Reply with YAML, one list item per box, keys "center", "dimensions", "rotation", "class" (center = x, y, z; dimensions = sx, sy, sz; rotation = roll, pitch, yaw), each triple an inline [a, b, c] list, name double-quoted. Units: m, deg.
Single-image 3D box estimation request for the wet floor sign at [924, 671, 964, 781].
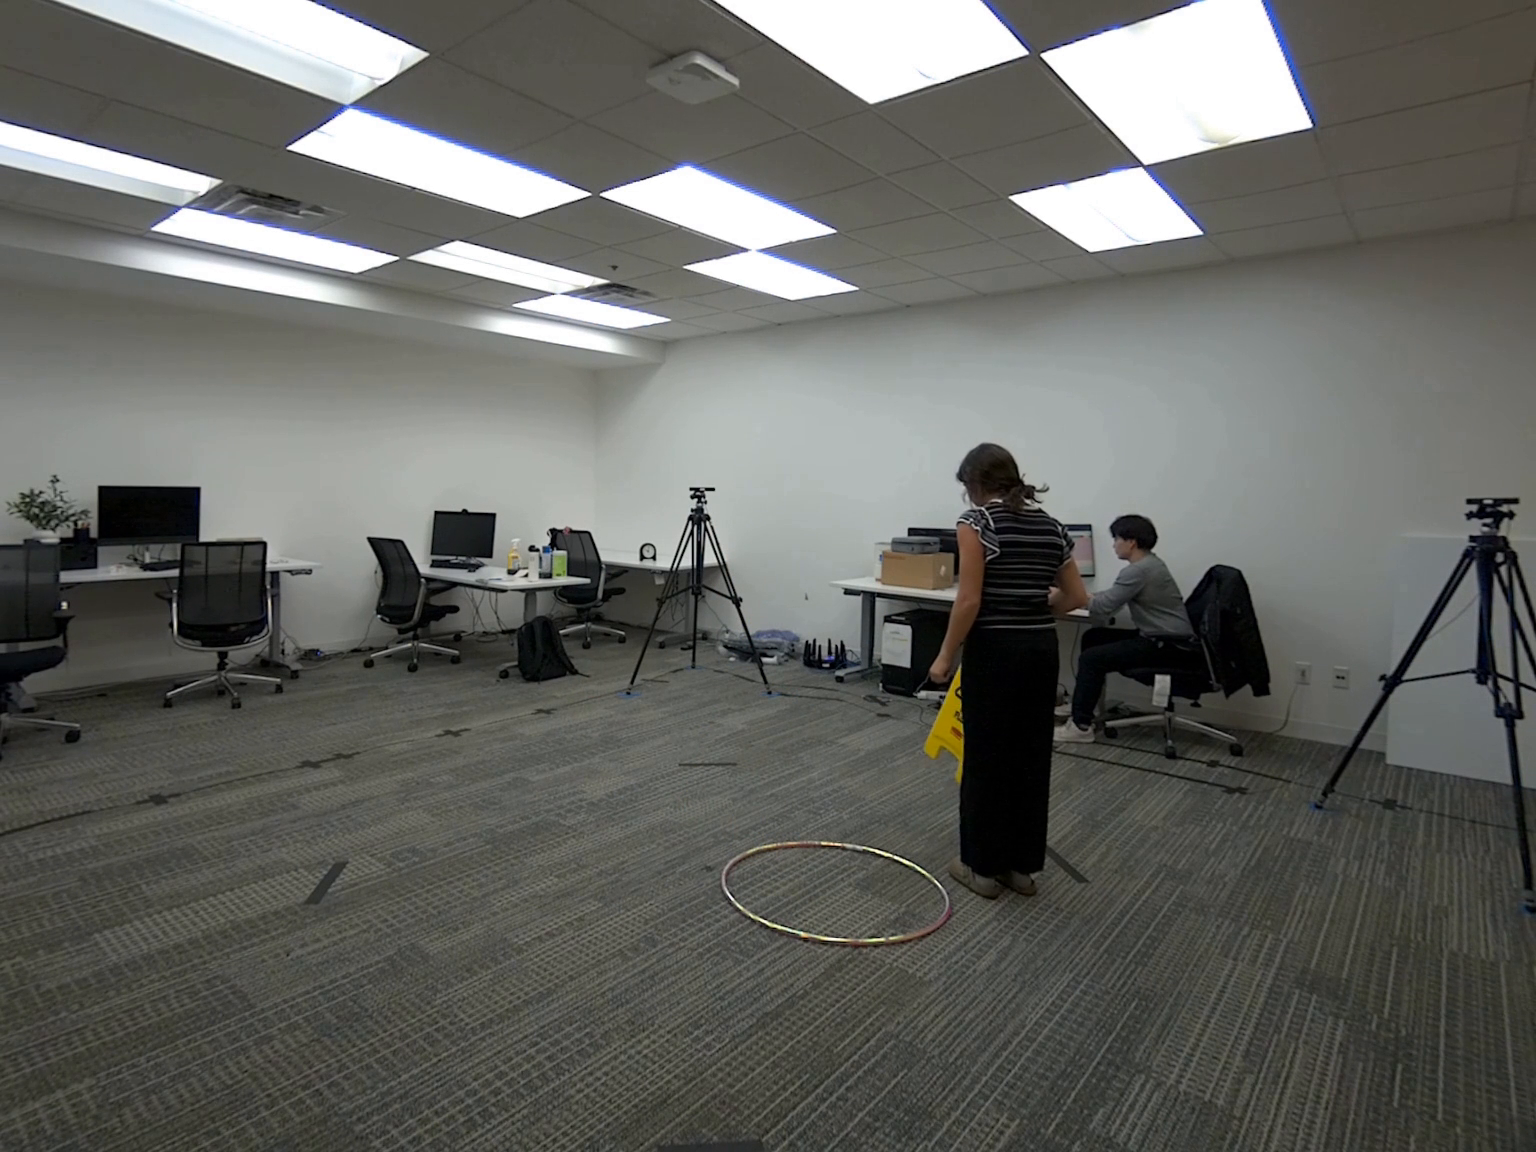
- center: [0.837, 0.446, 3.291]
  dimensions: [0.283, 0.638, 0.293]
  rotation: [-1, 18, -27]
  class: "wet floor sign"
